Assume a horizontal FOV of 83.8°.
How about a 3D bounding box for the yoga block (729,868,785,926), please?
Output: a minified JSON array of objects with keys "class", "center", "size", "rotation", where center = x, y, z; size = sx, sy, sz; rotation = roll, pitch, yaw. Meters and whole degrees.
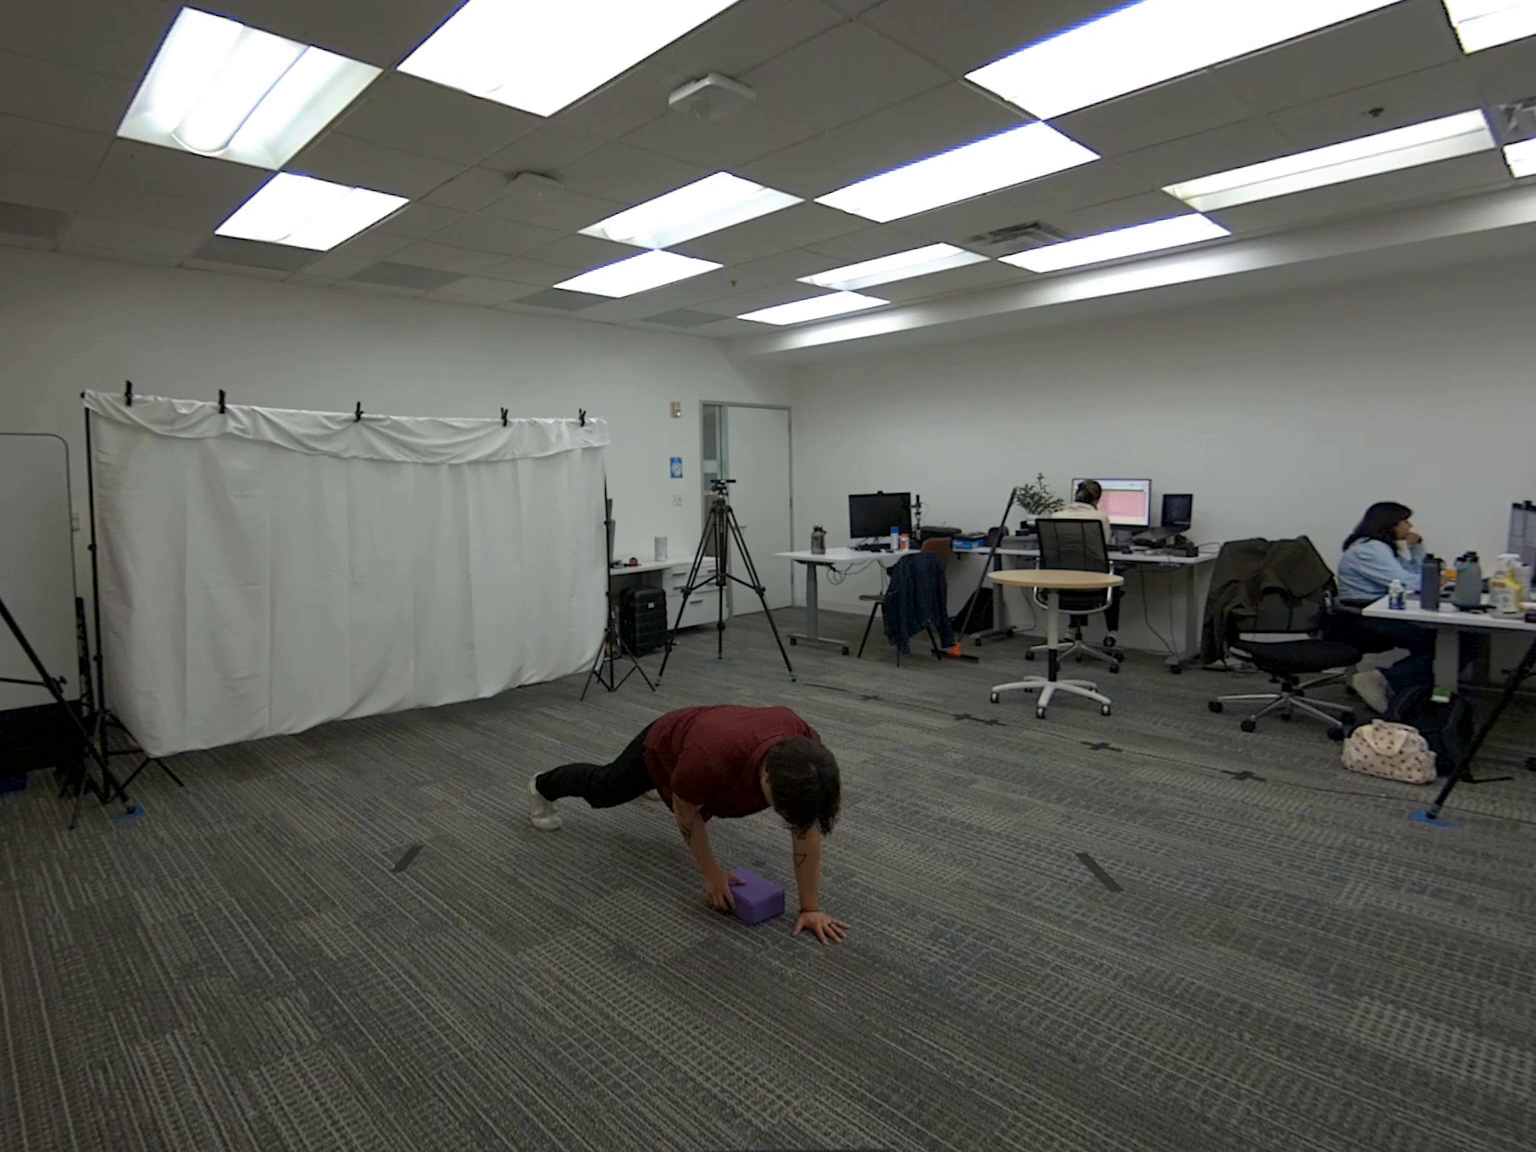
[{"class":"yoga block","center":[-0.070,1.045,2.796],"size":[0.145,0.076,0.236],"rotation":[-6,9,-37]}]
